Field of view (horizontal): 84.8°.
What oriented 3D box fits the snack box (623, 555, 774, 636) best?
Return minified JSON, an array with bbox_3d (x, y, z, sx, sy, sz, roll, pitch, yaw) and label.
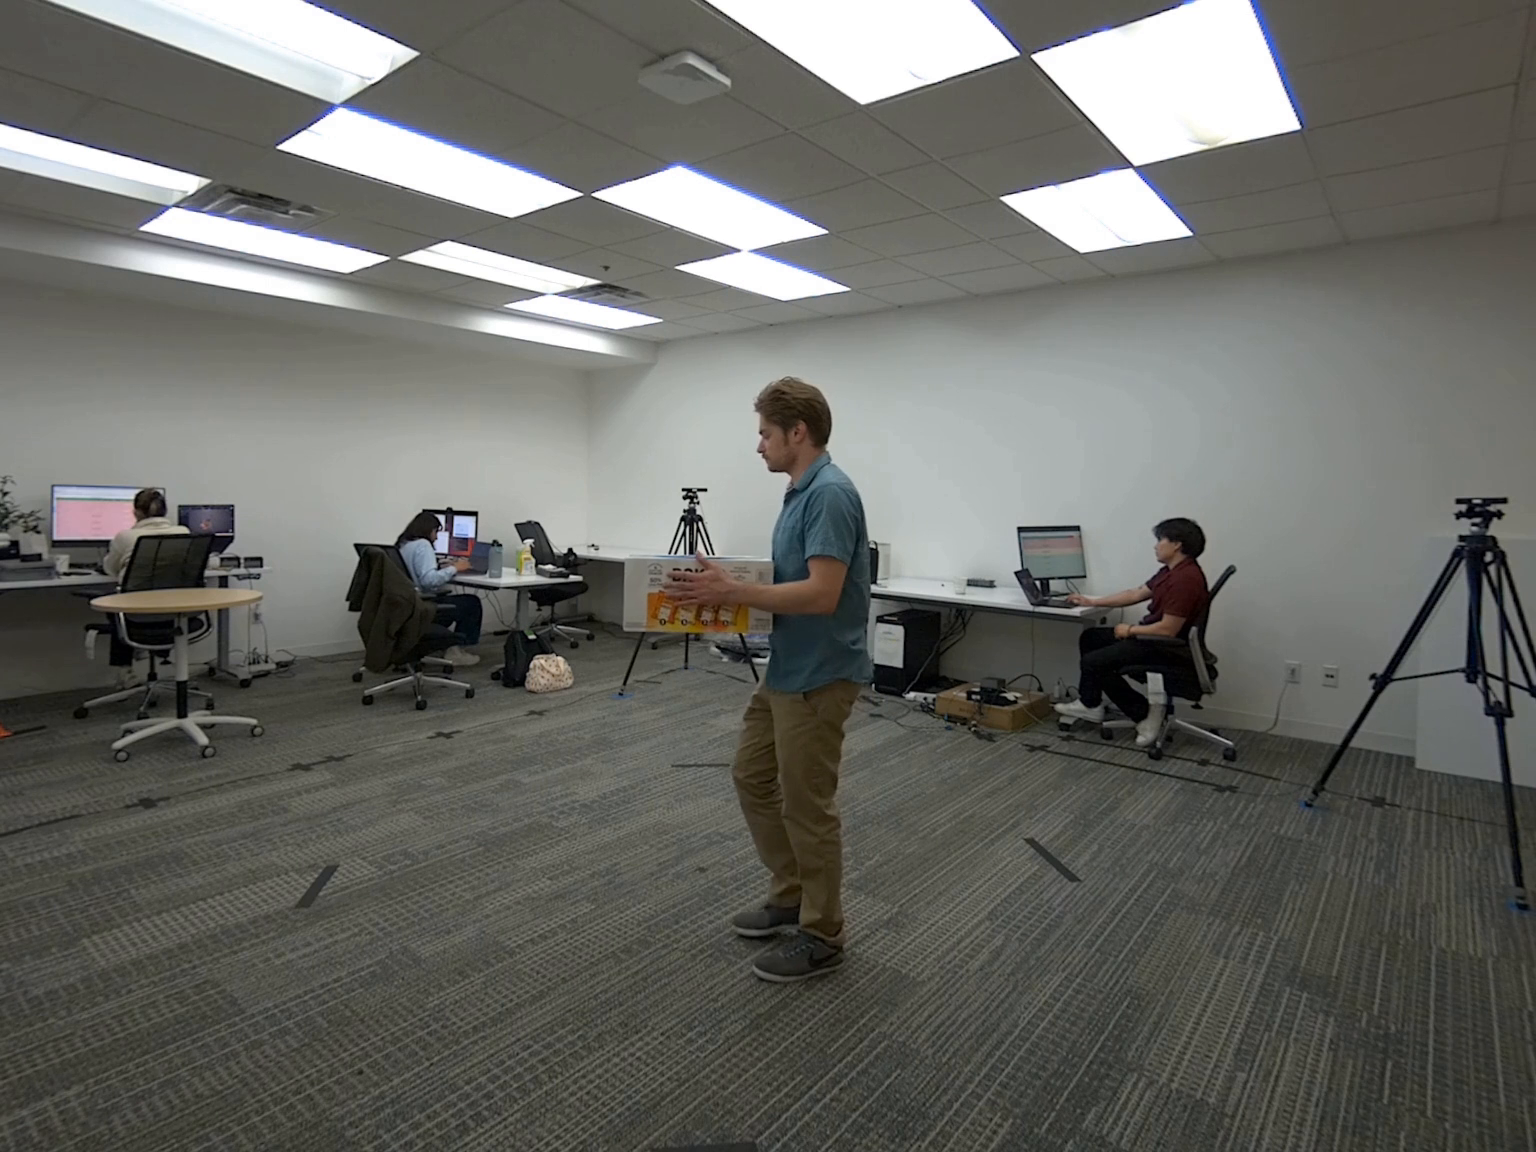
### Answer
[{"bbox_3d":[-0.213,0.036,2.481,0.404,0.205,0.342,1,3,-3],"label":"snack box"}]
